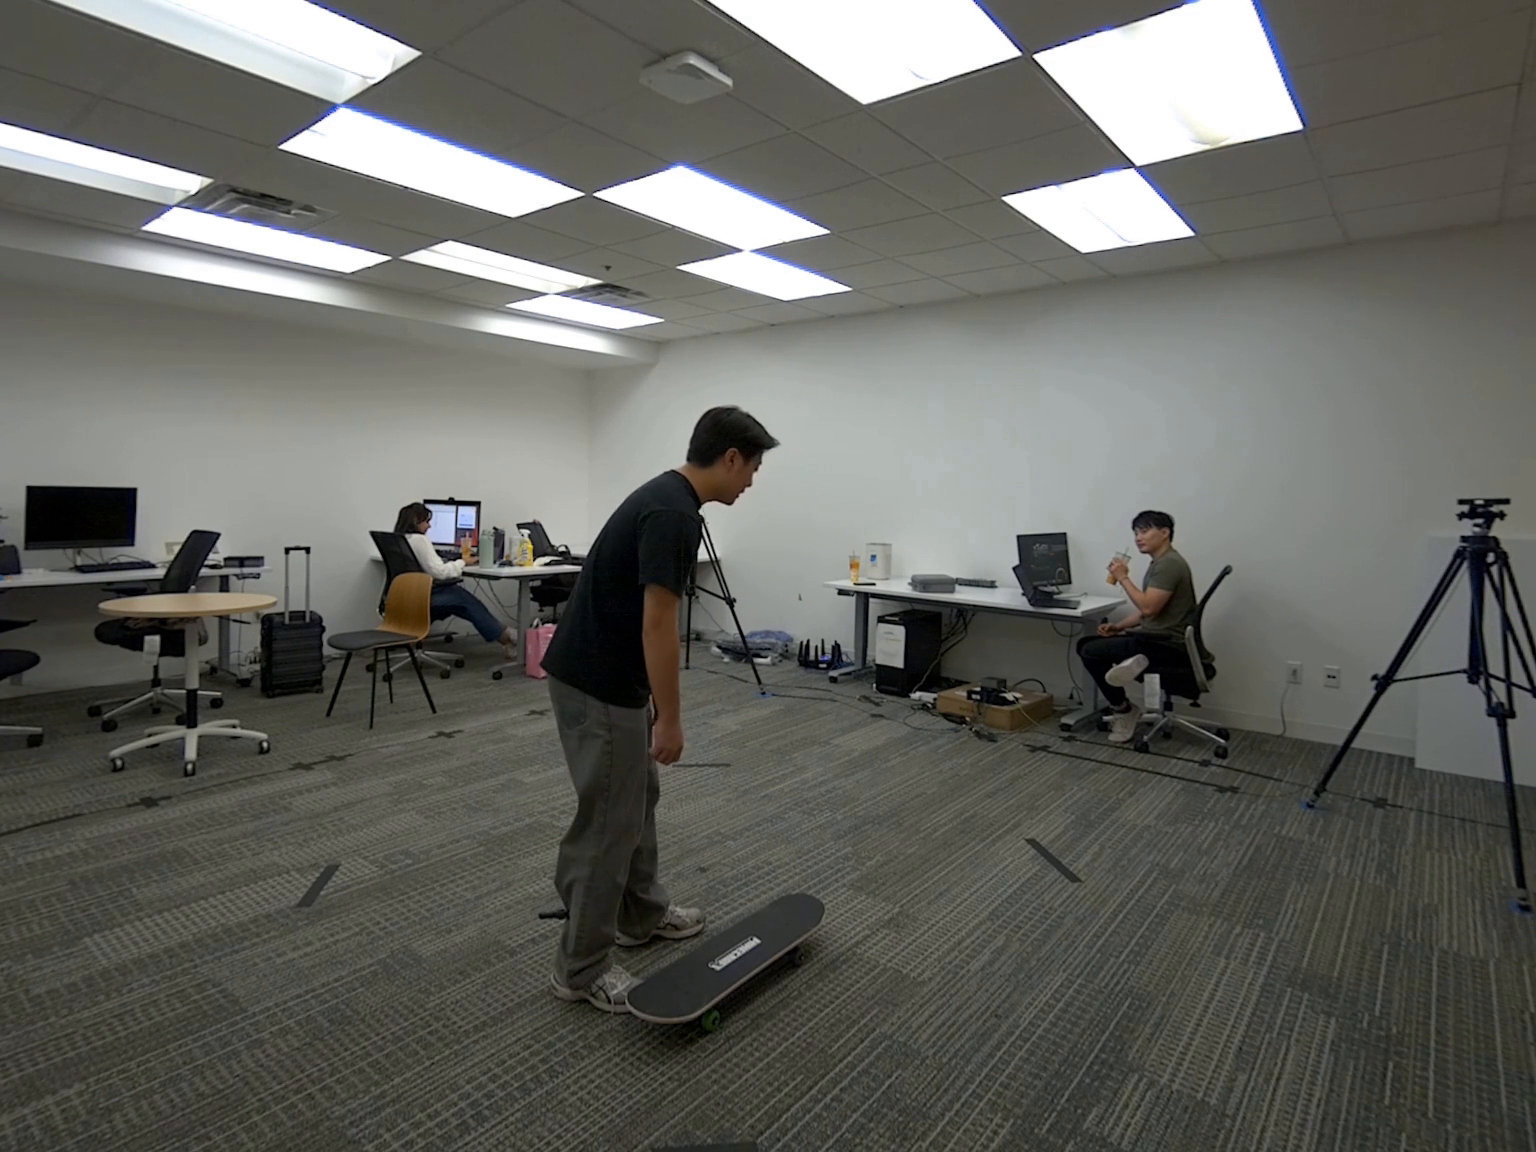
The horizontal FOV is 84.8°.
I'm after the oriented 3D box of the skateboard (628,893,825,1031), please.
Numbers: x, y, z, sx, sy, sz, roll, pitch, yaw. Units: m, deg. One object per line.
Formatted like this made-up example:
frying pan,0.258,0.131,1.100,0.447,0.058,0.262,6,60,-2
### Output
skateboard,-0.099,1.089,2.385,0.200,0.110,0.763,7,8,38
